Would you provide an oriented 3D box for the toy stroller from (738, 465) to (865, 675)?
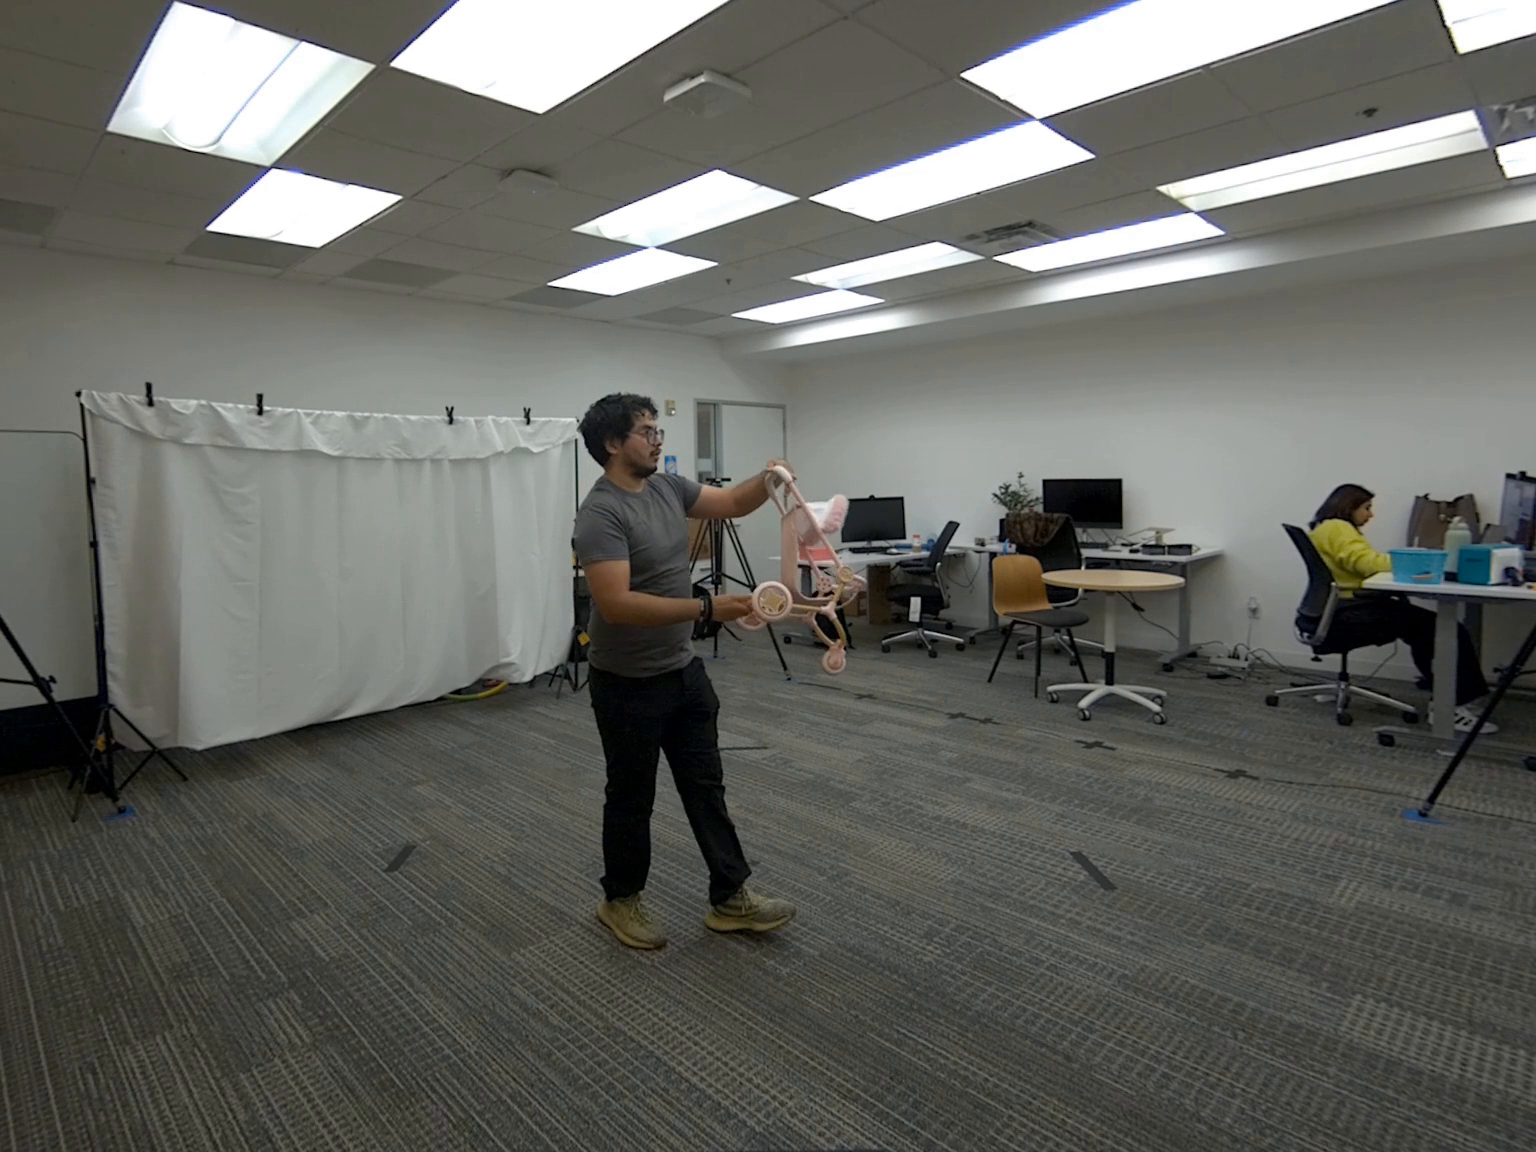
[{"bbox_3d":[0.123,-0.017,2.423,0.339,0.540,0.280,16,-15,-6],"label":"toy stroller"}]
